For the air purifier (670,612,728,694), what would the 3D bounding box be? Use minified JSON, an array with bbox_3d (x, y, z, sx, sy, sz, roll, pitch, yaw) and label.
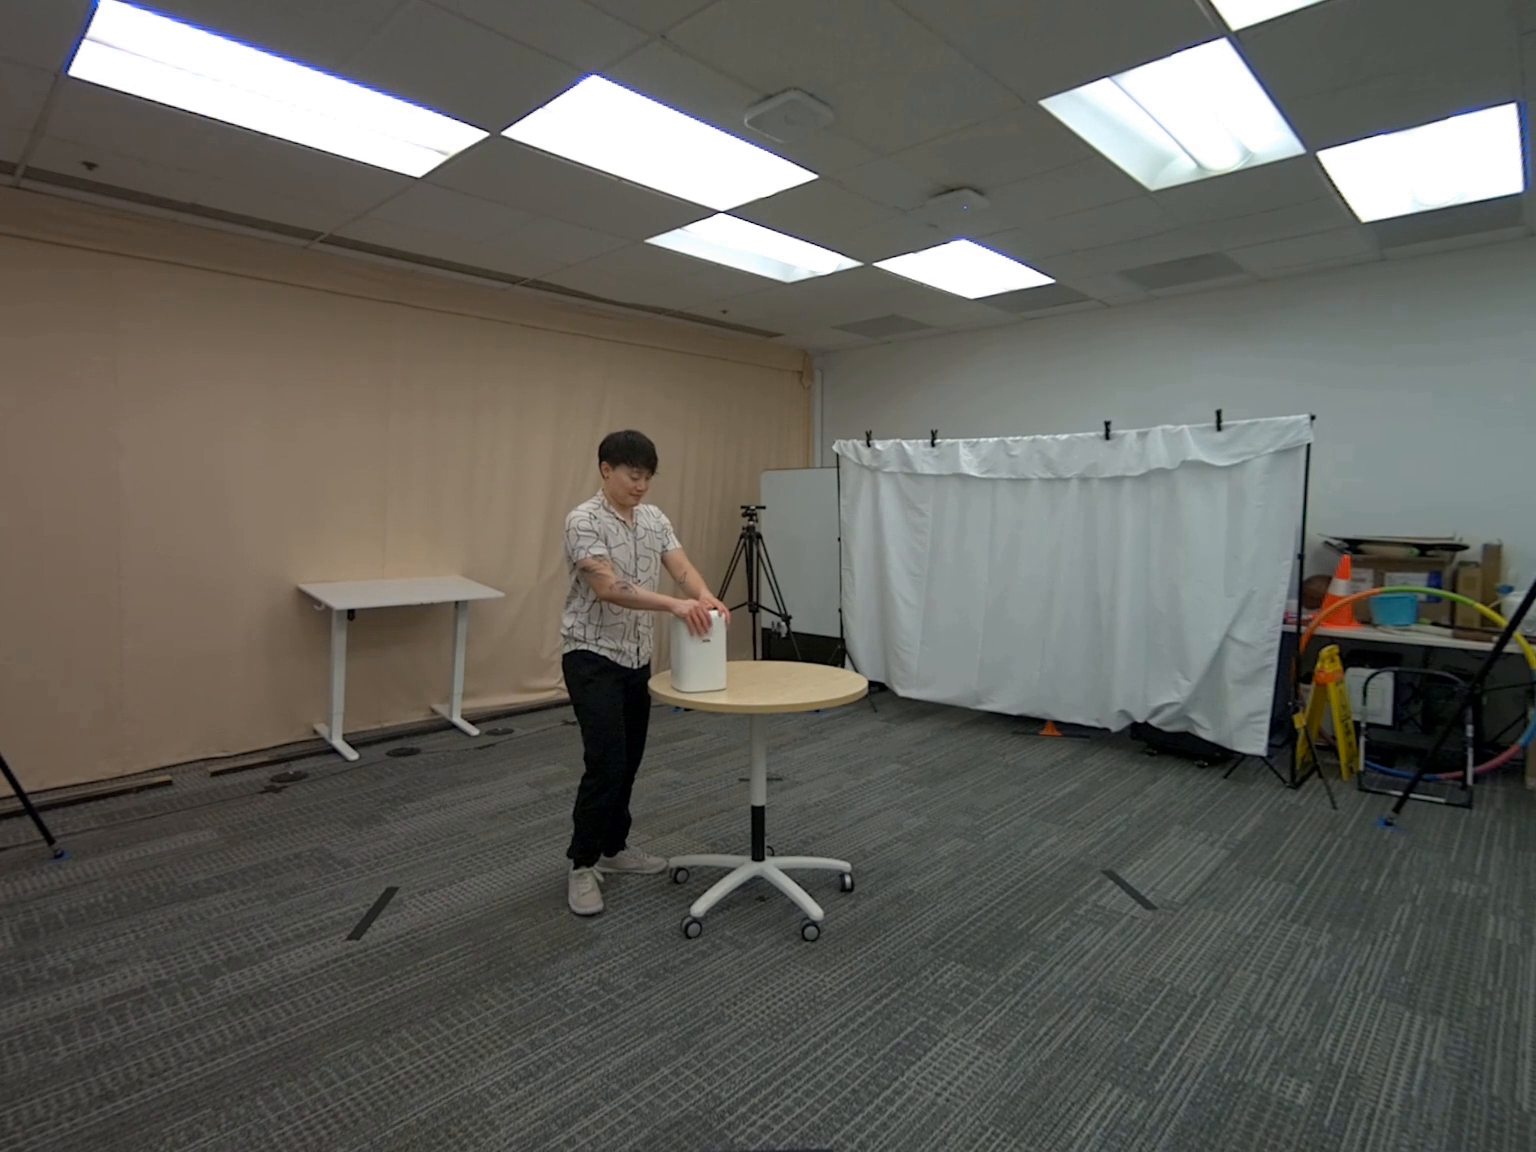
[{"bbox_3d":[-0.230,0.244,2.837,0.168,0.265,0.175,-3,2,-18],"label":"air purifier"}]
